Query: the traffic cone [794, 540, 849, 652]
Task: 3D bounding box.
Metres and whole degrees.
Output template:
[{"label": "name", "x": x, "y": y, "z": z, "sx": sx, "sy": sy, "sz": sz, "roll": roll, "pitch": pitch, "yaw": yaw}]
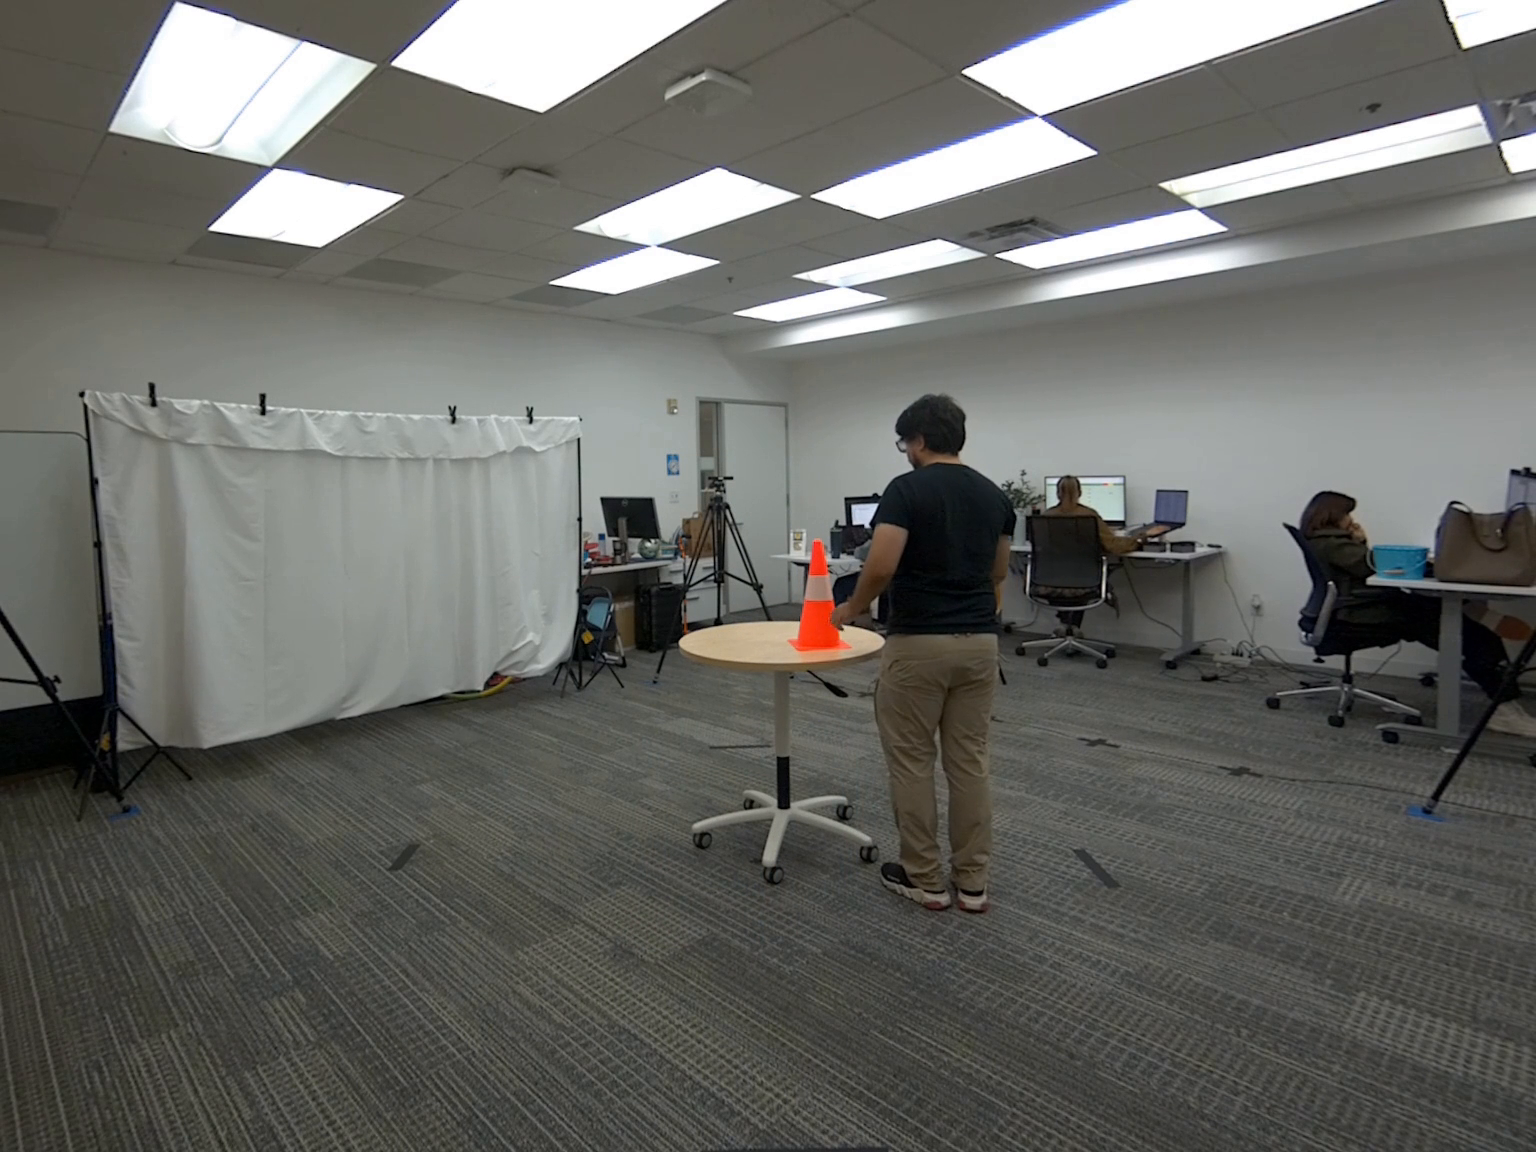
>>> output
[{"label": "traffic cone", "x": 0.184, "y": 0.061, "z": 3.093, "sx": 0.202, "sy": 0.382, "sz": 0.207, "roll": -3, "pitch": 5, "yaw": -17}]
